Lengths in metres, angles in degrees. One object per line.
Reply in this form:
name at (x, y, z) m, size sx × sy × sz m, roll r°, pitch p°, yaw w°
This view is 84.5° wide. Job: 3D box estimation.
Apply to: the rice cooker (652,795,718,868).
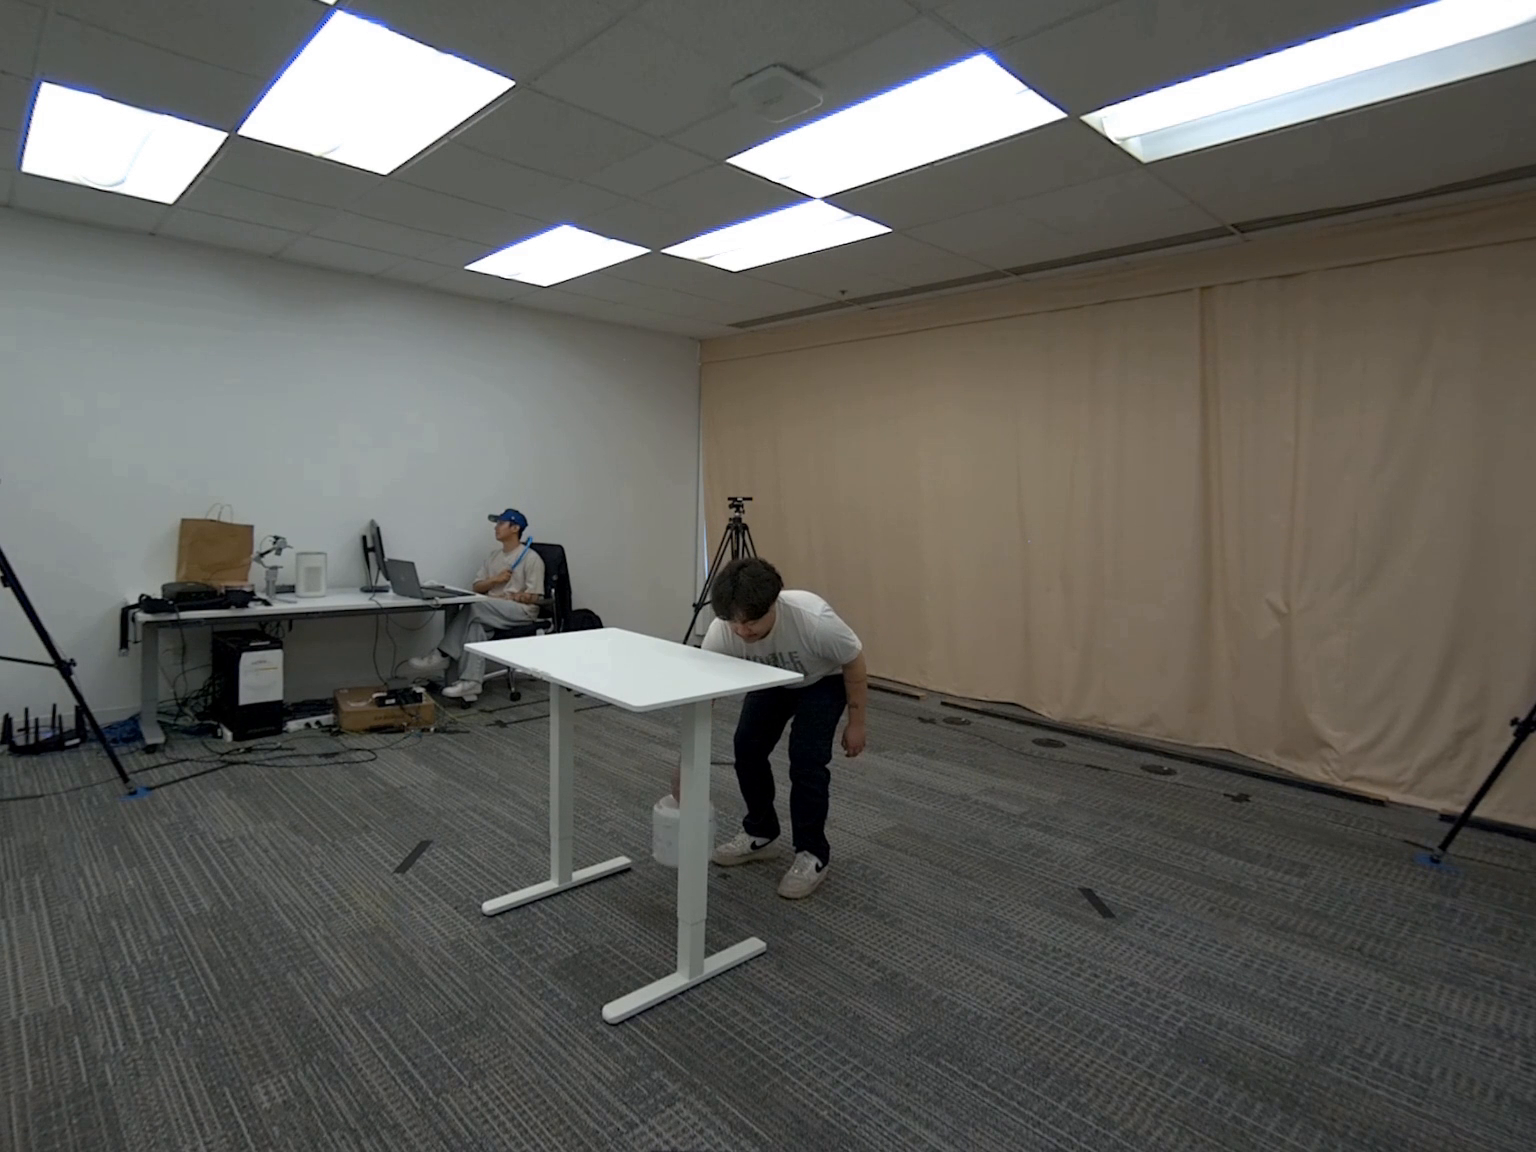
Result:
rice cooker at (-0.290, 0.856, 2.872) m, size 0.215 × 0.232 × 0.223 m, roll 0°, pitch 5°, yaw -12°
